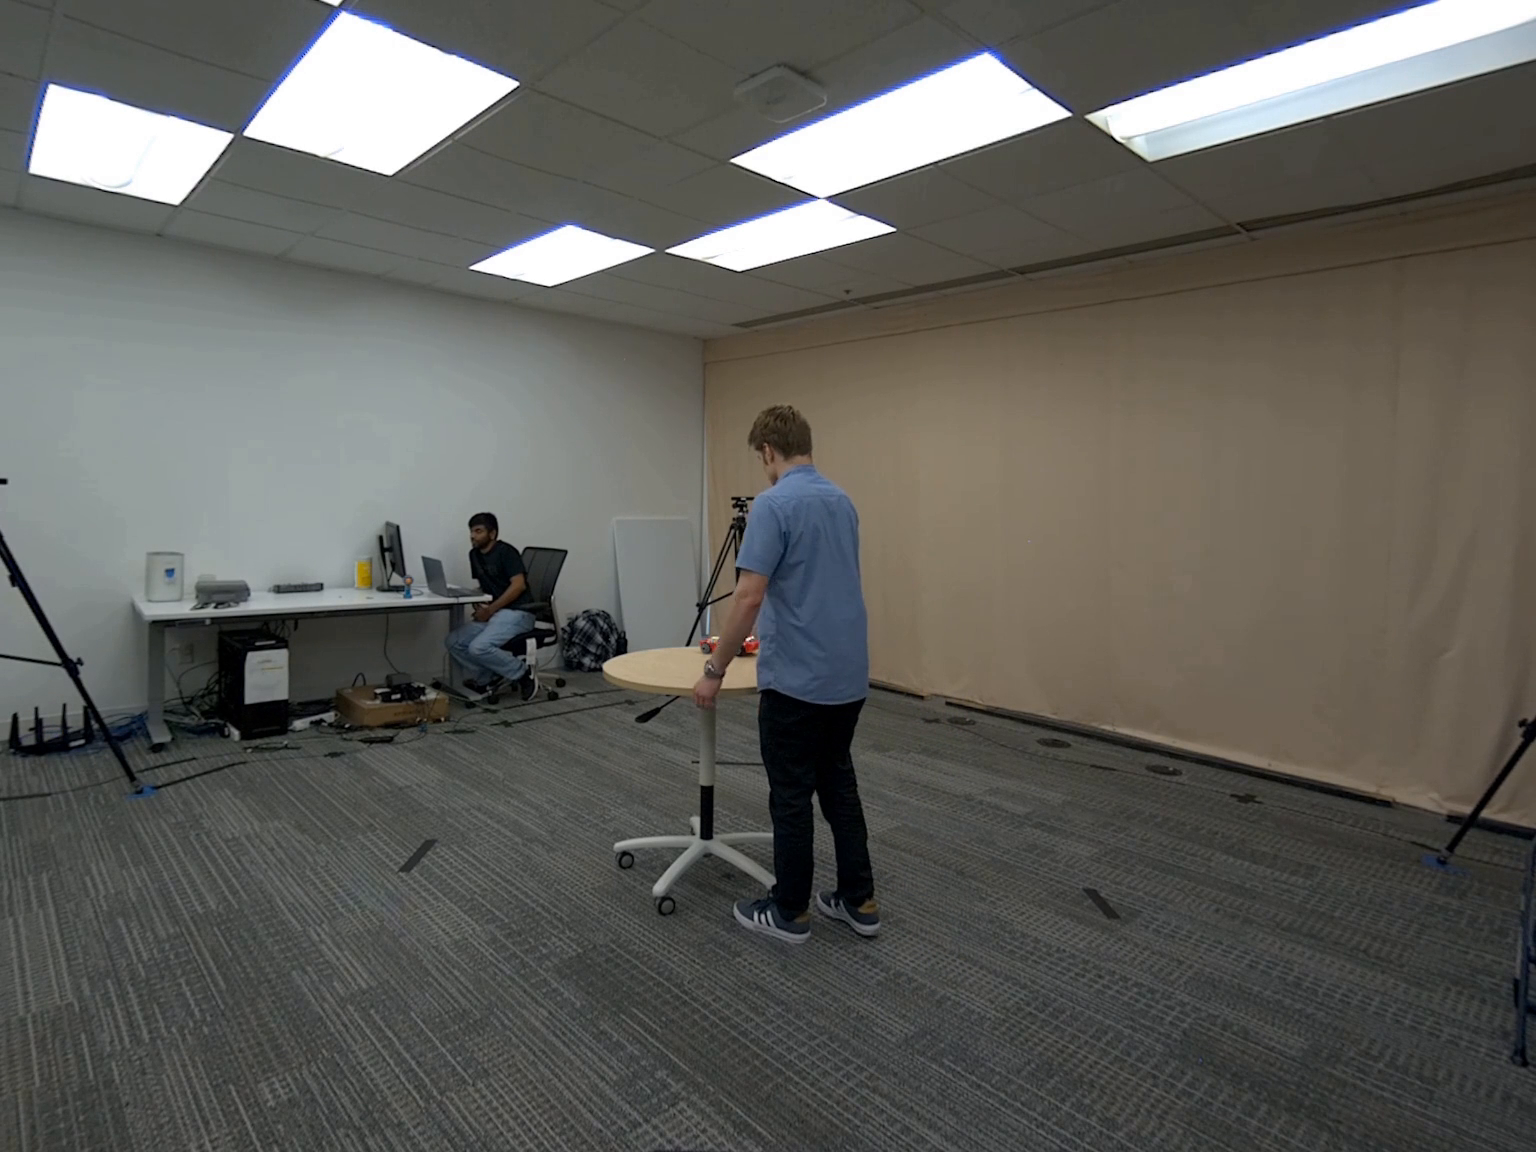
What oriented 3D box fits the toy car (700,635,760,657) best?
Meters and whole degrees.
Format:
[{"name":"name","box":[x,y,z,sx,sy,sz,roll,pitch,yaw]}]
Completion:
[{"name":"toy car","box":[-0.138,0.274,3.285,0.258,0.083,0.128,-9,0,25]}]
